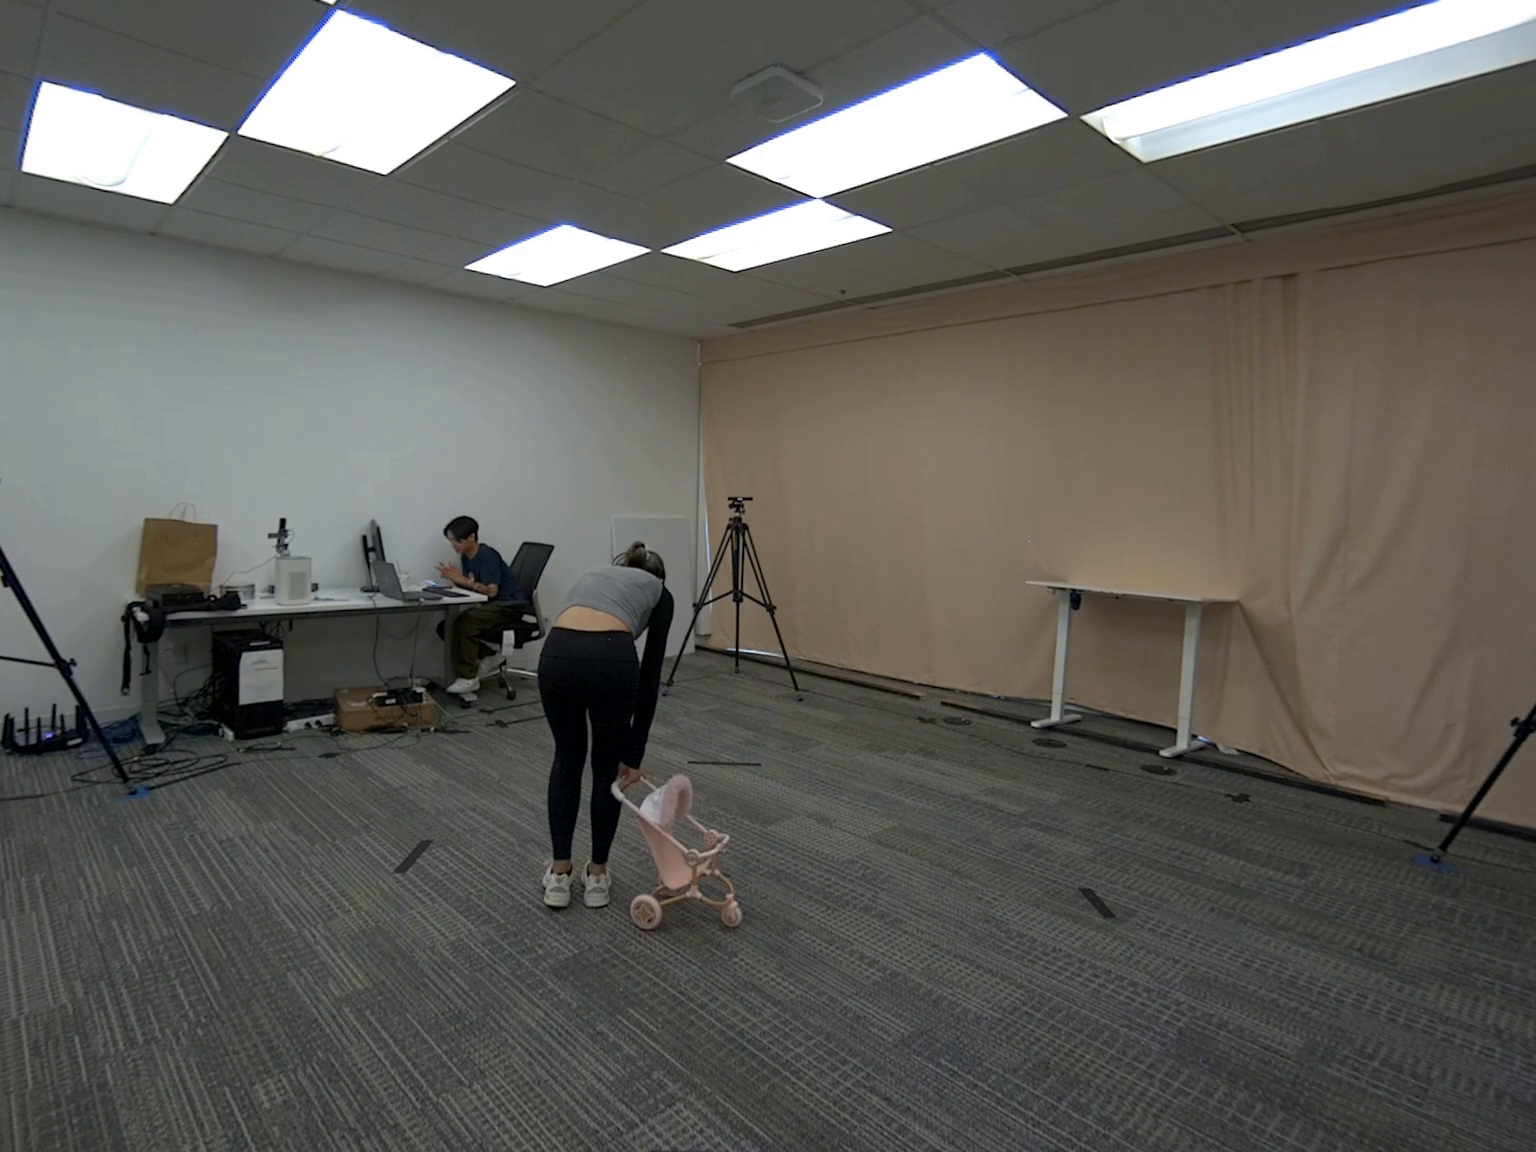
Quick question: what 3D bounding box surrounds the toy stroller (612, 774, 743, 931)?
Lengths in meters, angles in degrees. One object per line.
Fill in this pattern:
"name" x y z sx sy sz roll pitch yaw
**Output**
"toy stroller" -0.297 0.907 2.788 0.345 0.537 0.277 -14 -4 21
